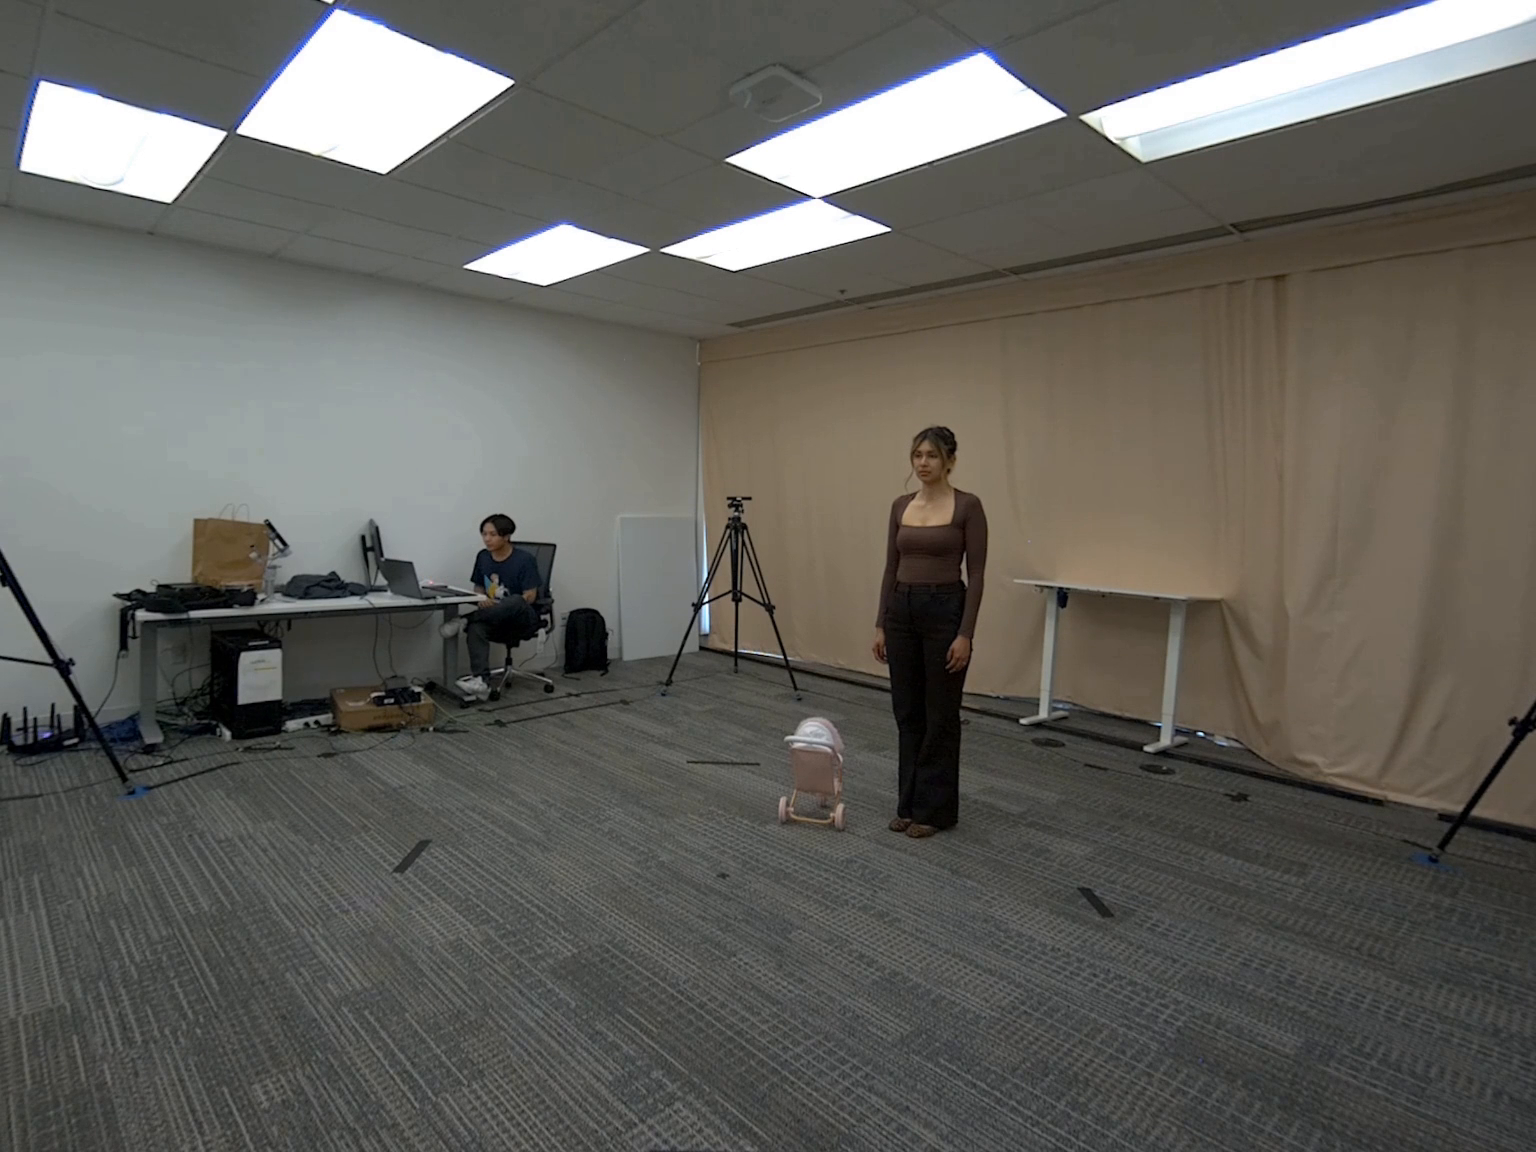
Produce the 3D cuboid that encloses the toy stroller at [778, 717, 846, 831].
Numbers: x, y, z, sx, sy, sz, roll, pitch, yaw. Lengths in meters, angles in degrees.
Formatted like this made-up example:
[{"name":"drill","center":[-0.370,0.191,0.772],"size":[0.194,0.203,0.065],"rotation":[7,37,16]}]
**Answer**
[{"name":"toy stroller","center":[0.205,0.845,3.661],"size":[0.286,0.527,0.341],"rotation":[4,21,19]}]
